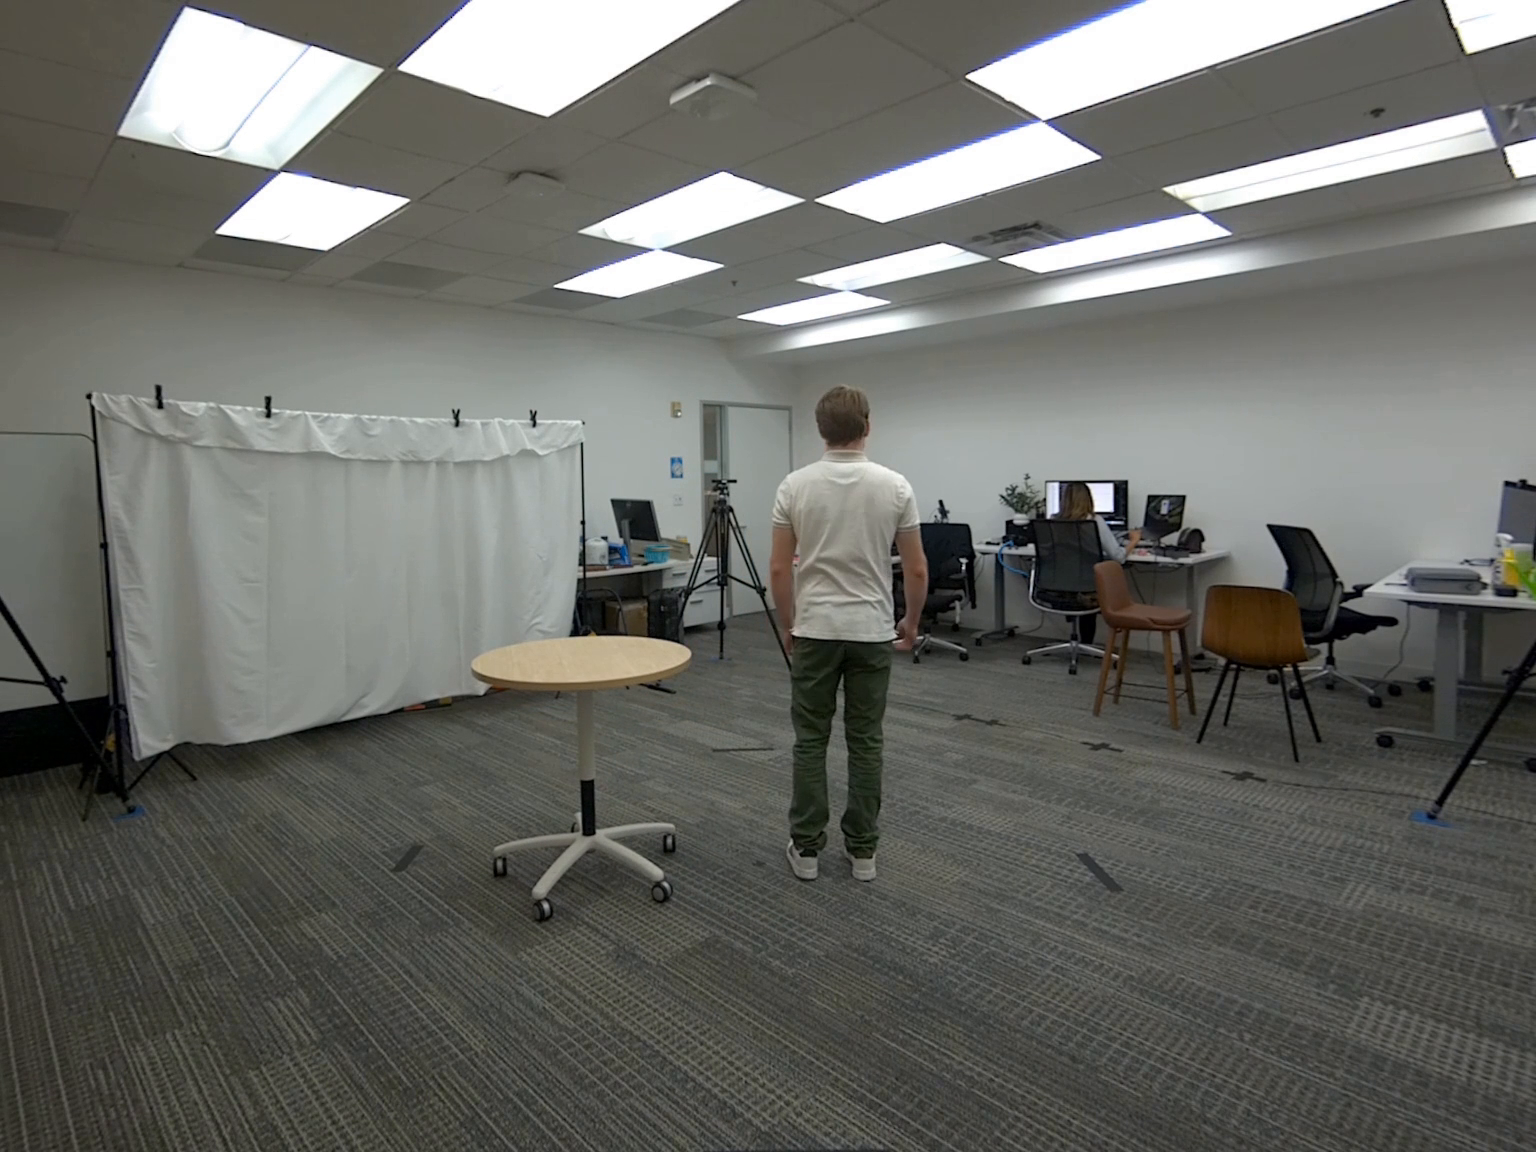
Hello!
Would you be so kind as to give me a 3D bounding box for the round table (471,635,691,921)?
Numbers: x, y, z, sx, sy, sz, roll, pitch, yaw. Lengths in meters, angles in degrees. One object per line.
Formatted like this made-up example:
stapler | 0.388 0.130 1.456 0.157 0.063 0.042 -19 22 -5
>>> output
round table | -0.637 0.676 3.048 0.763 0.791 0.768 -1 5 -2
